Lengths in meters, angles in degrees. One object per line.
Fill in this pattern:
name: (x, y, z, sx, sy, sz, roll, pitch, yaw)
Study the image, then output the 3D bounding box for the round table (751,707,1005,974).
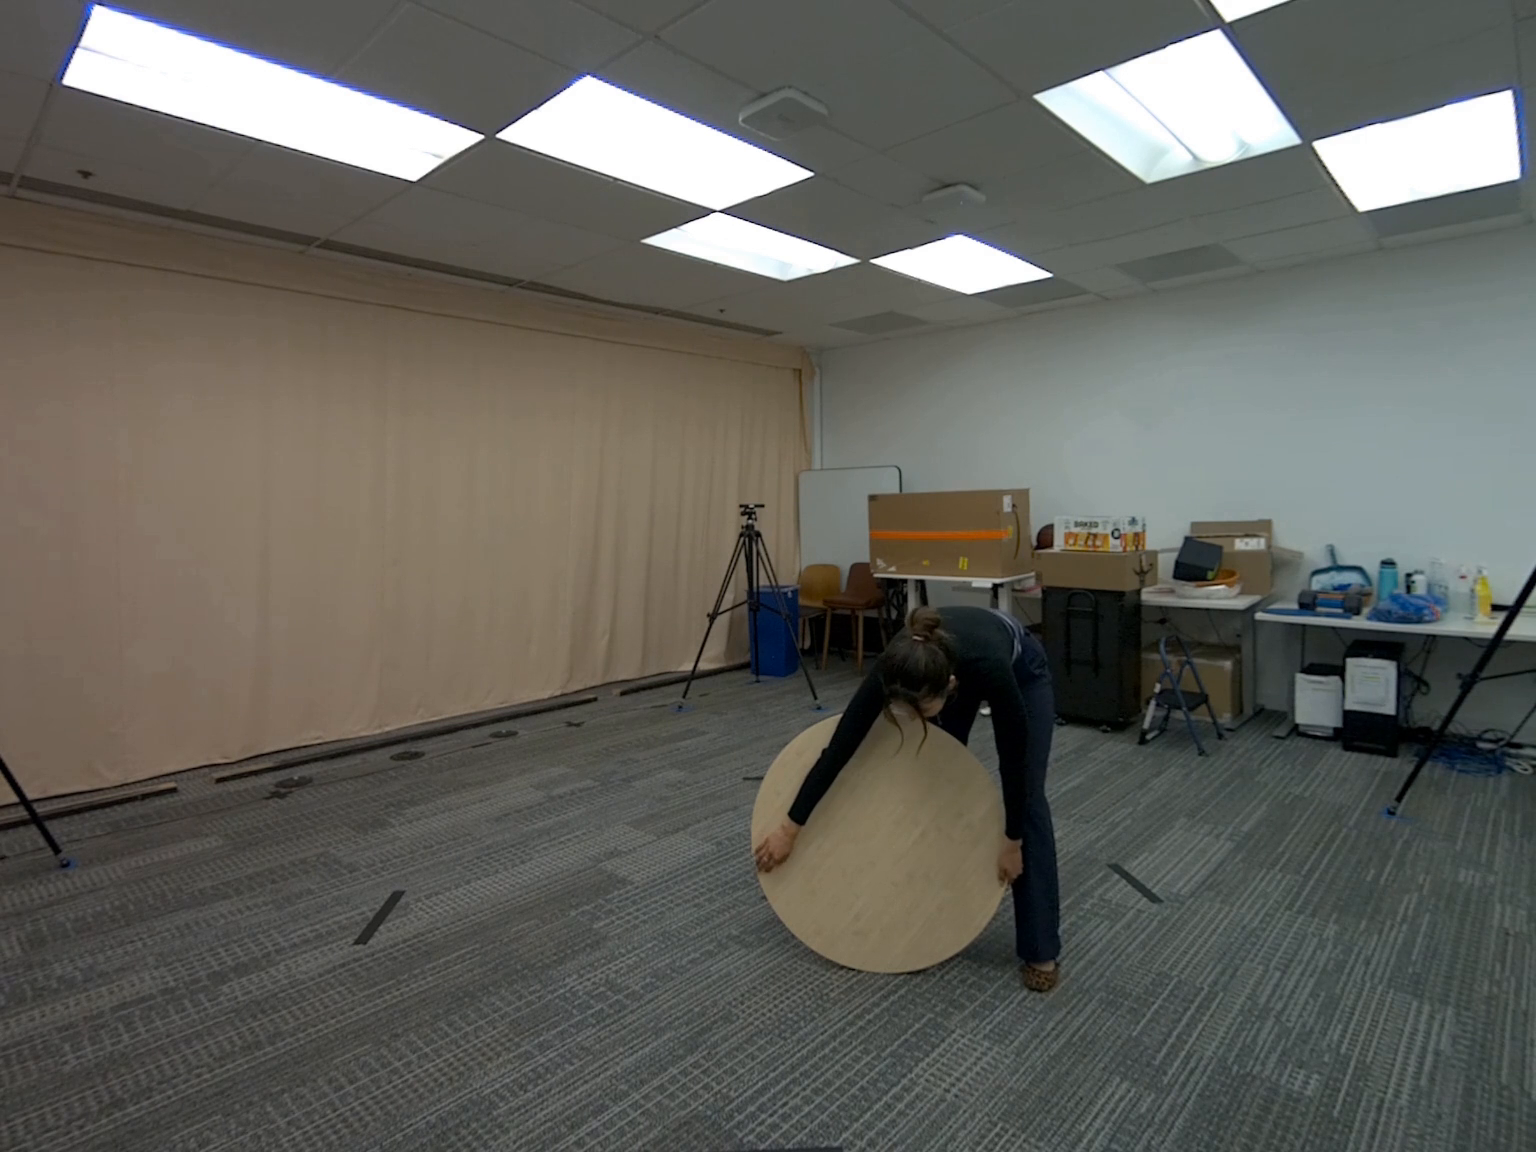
round table: (0.370, 0.805, 2.905, 0.770, 0.765, 0.786, 0, -2, 7)
